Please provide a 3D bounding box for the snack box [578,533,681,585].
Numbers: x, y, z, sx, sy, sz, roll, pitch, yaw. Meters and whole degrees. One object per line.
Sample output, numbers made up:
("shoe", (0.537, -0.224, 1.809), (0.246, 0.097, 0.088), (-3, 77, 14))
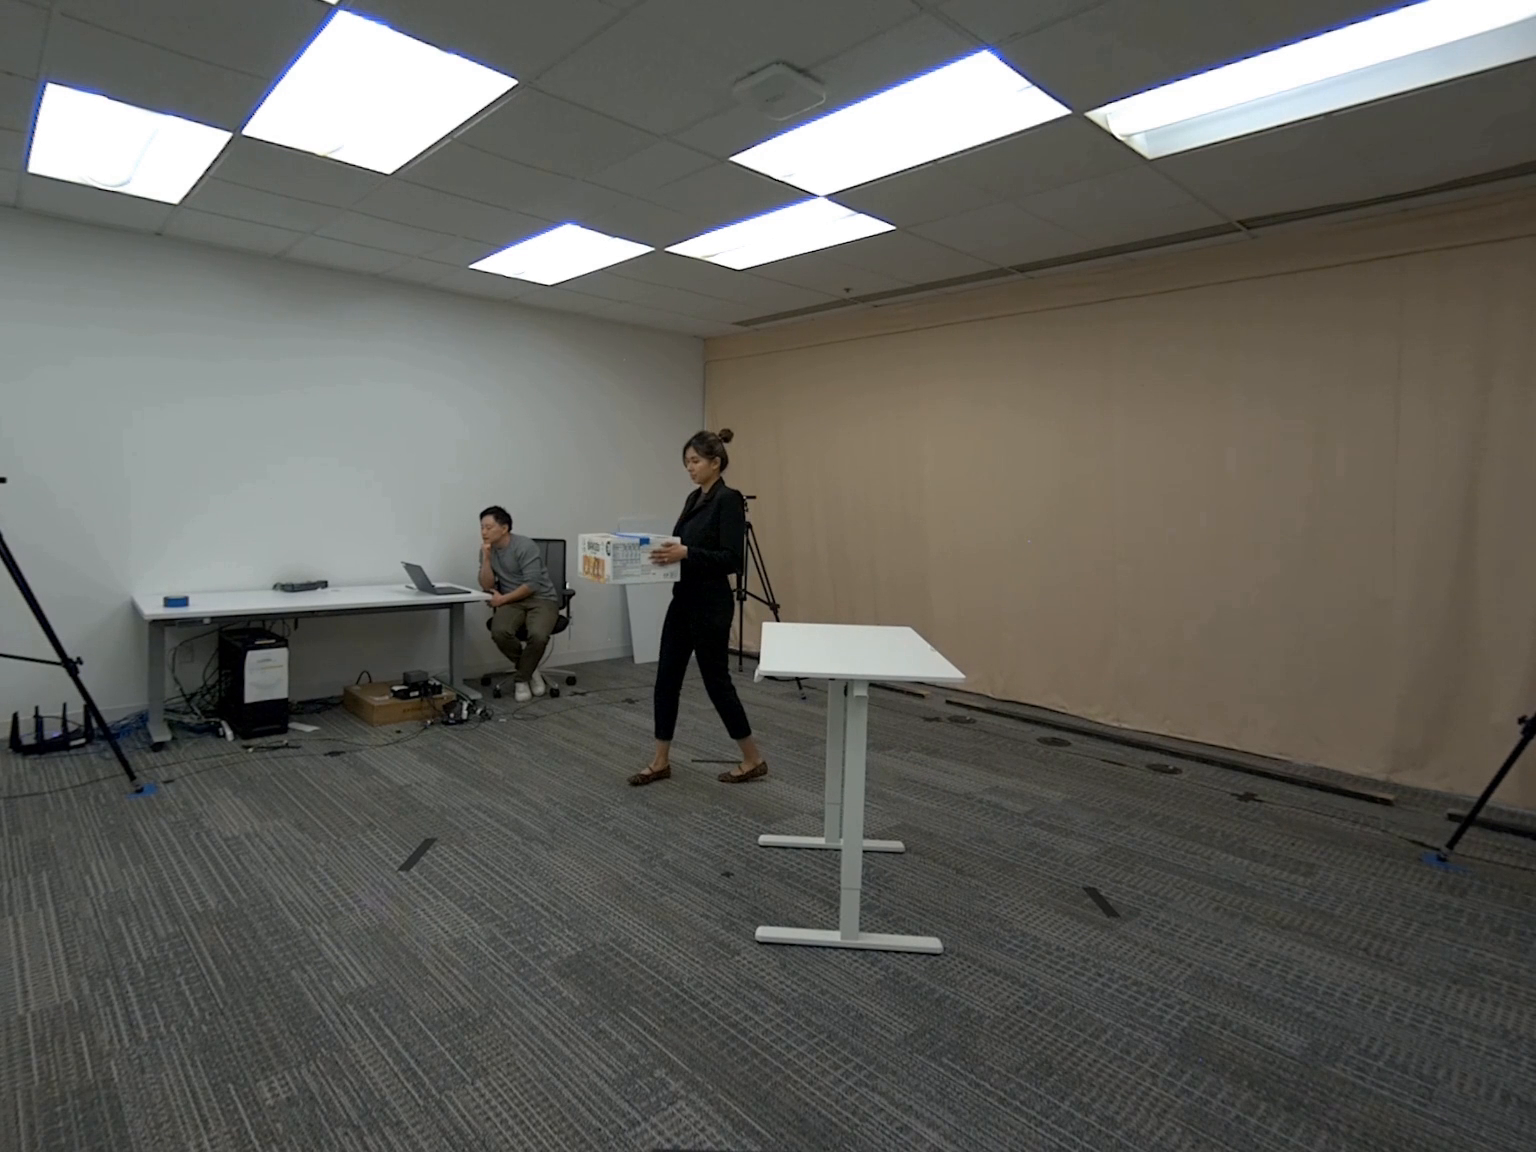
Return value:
("snack box", (-0.648, -0.088, 3.897), (0.333, 0.205, 0.415), (-3, 7, -31))
